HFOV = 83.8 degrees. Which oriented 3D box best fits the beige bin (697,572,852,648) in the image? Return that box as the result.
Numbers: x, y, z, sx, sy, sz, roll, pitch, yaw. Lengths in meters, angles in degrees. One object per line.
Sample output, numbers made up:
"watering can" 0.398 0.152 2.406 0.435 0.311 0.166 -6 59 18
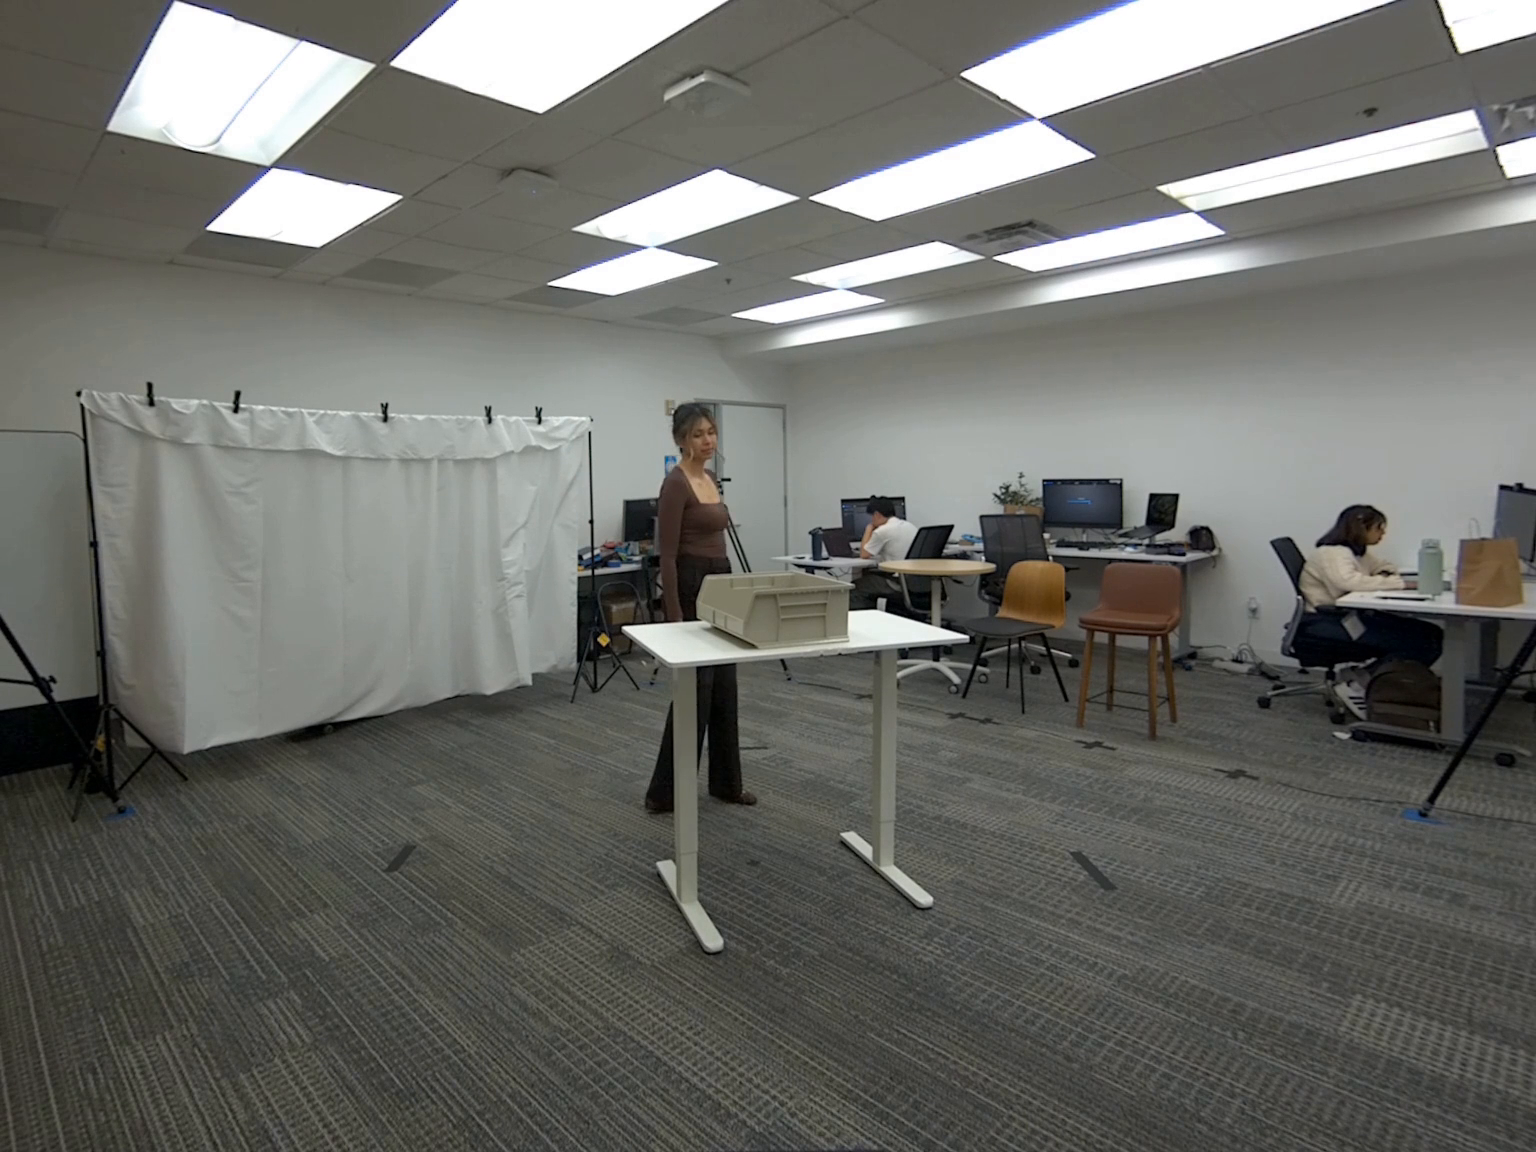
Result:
"beige bin" 0.018 0.106 2.784 0.370 0.188 0.433 -2 6 -24
